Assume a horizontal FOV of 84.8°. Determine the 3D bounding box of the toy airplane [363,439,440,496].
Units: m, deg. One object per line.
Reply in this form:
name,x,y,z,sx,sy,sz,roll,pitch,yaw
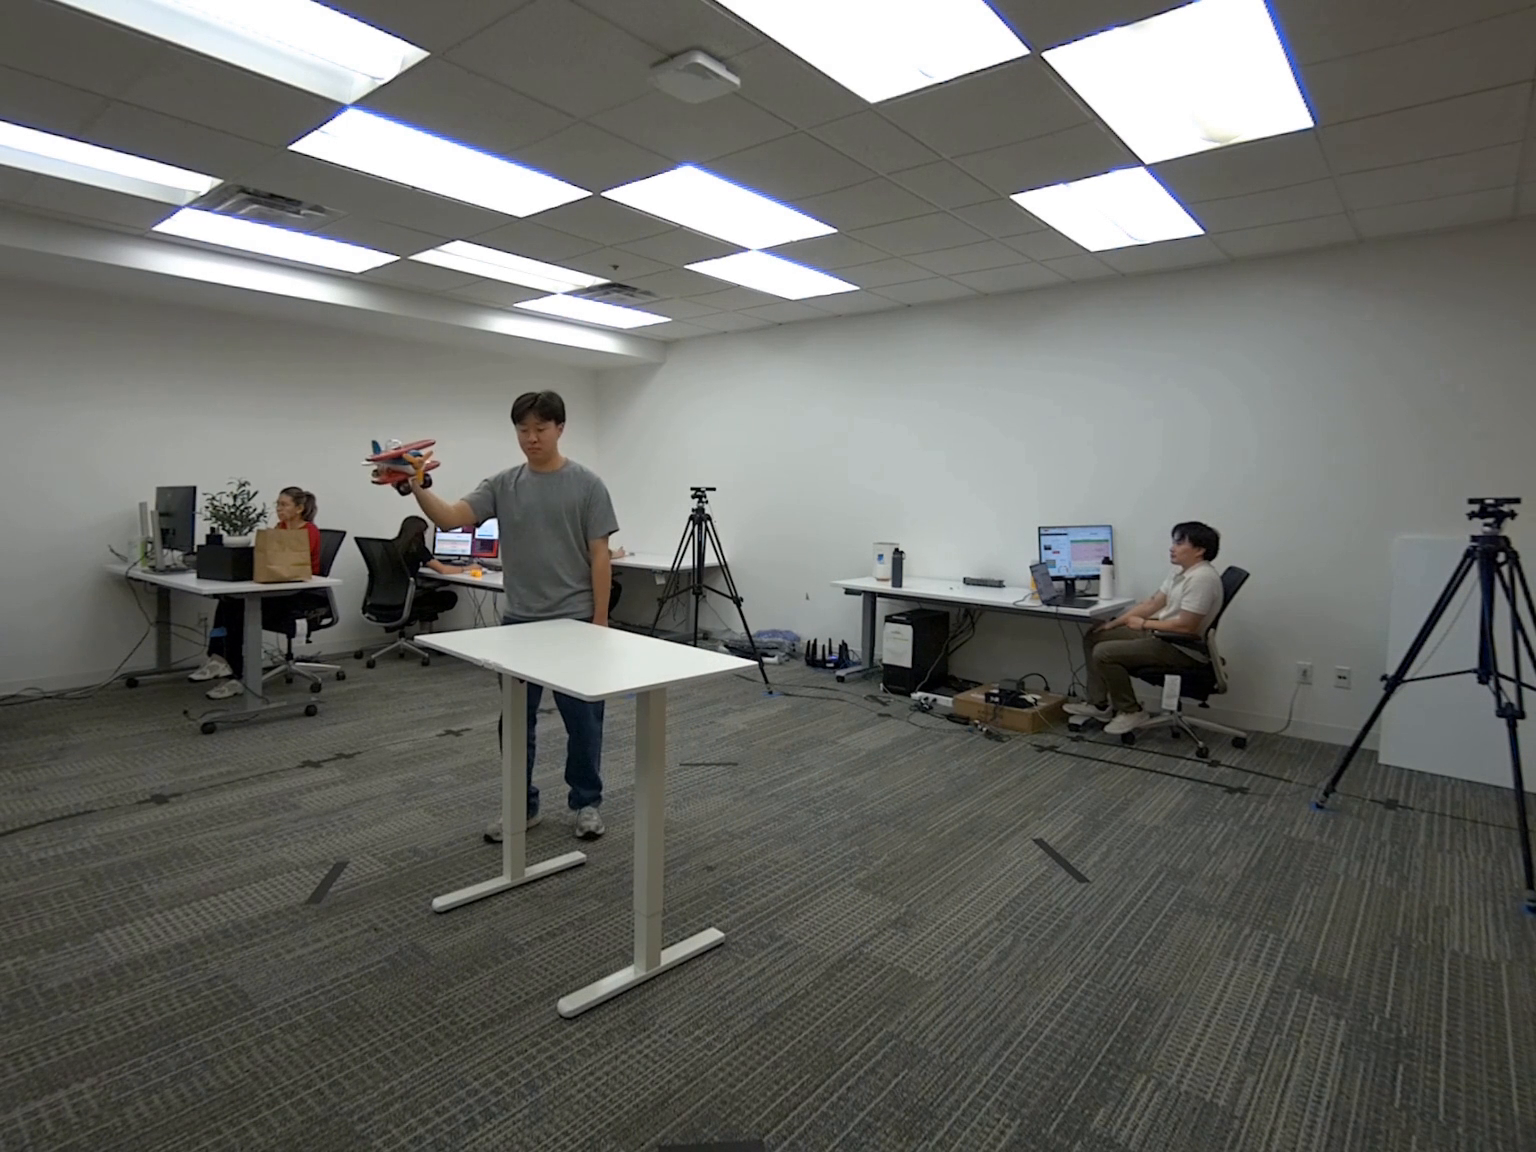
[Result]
toy airplane,-1.290,-0.385,2.922,0.260,0.153,0.256,8,29,1
